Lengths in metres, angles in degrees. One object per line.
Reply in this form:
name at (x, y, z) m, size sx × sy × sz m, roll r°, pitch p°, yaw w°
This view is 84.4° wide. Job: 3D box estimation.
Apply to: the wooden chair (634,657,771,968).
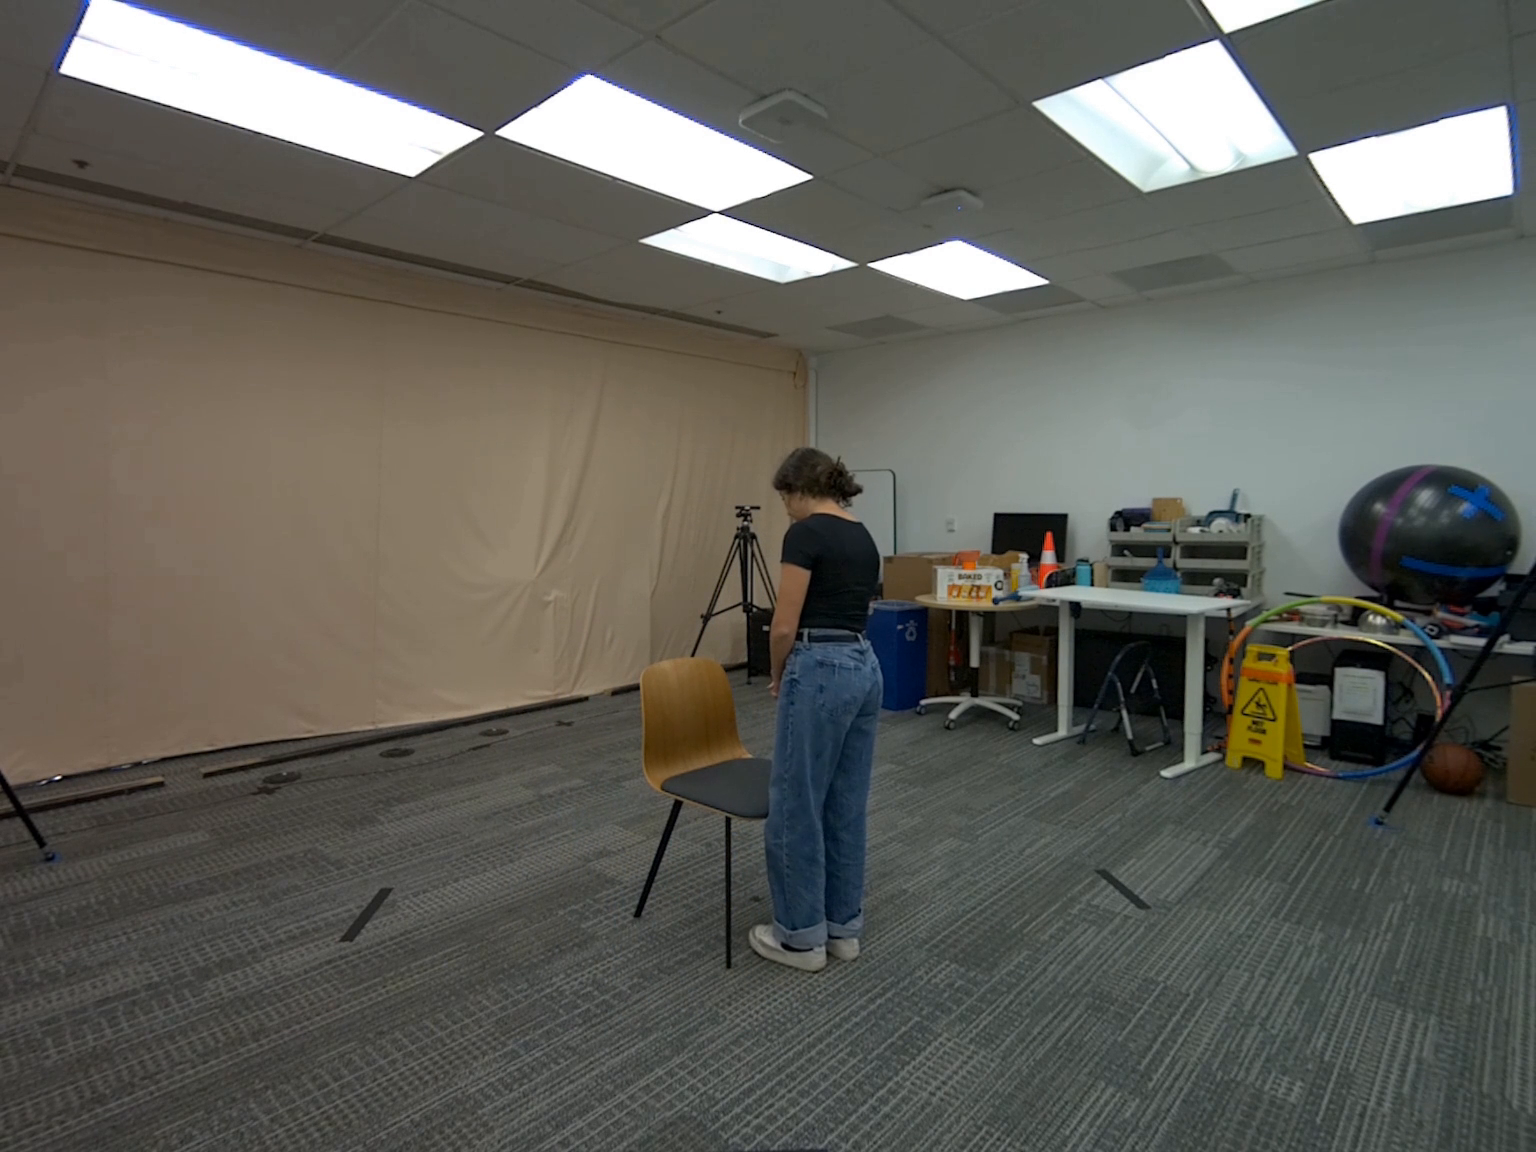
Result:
wooden chair at (-0.133, 0.735, 2.815) m, size 0.539 × 0.877 × 0.463 m, roll -3°, pitch 1°, yaw 44°
